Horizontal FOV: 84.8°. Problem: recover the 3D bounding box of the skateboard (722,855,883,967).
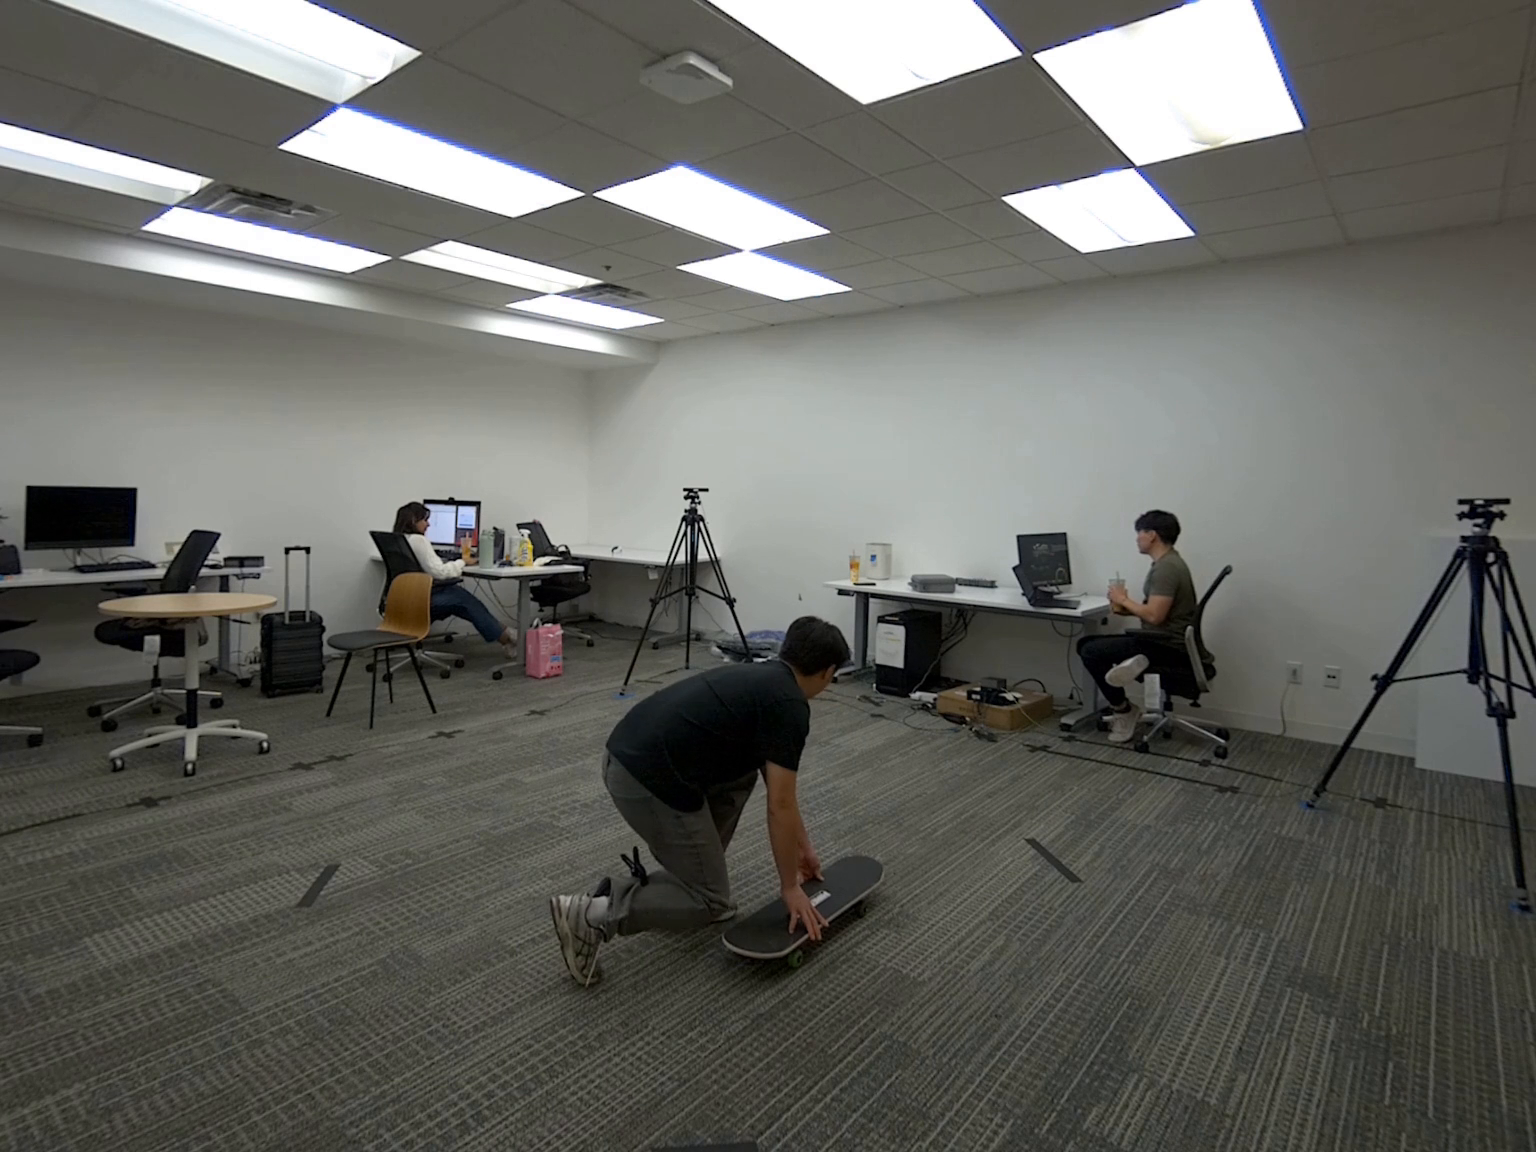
[{"bbox_3d":[0.122,1.062,2.694,0.200,0.110,0.763,7,8,37],"label":"skateboard"}]
